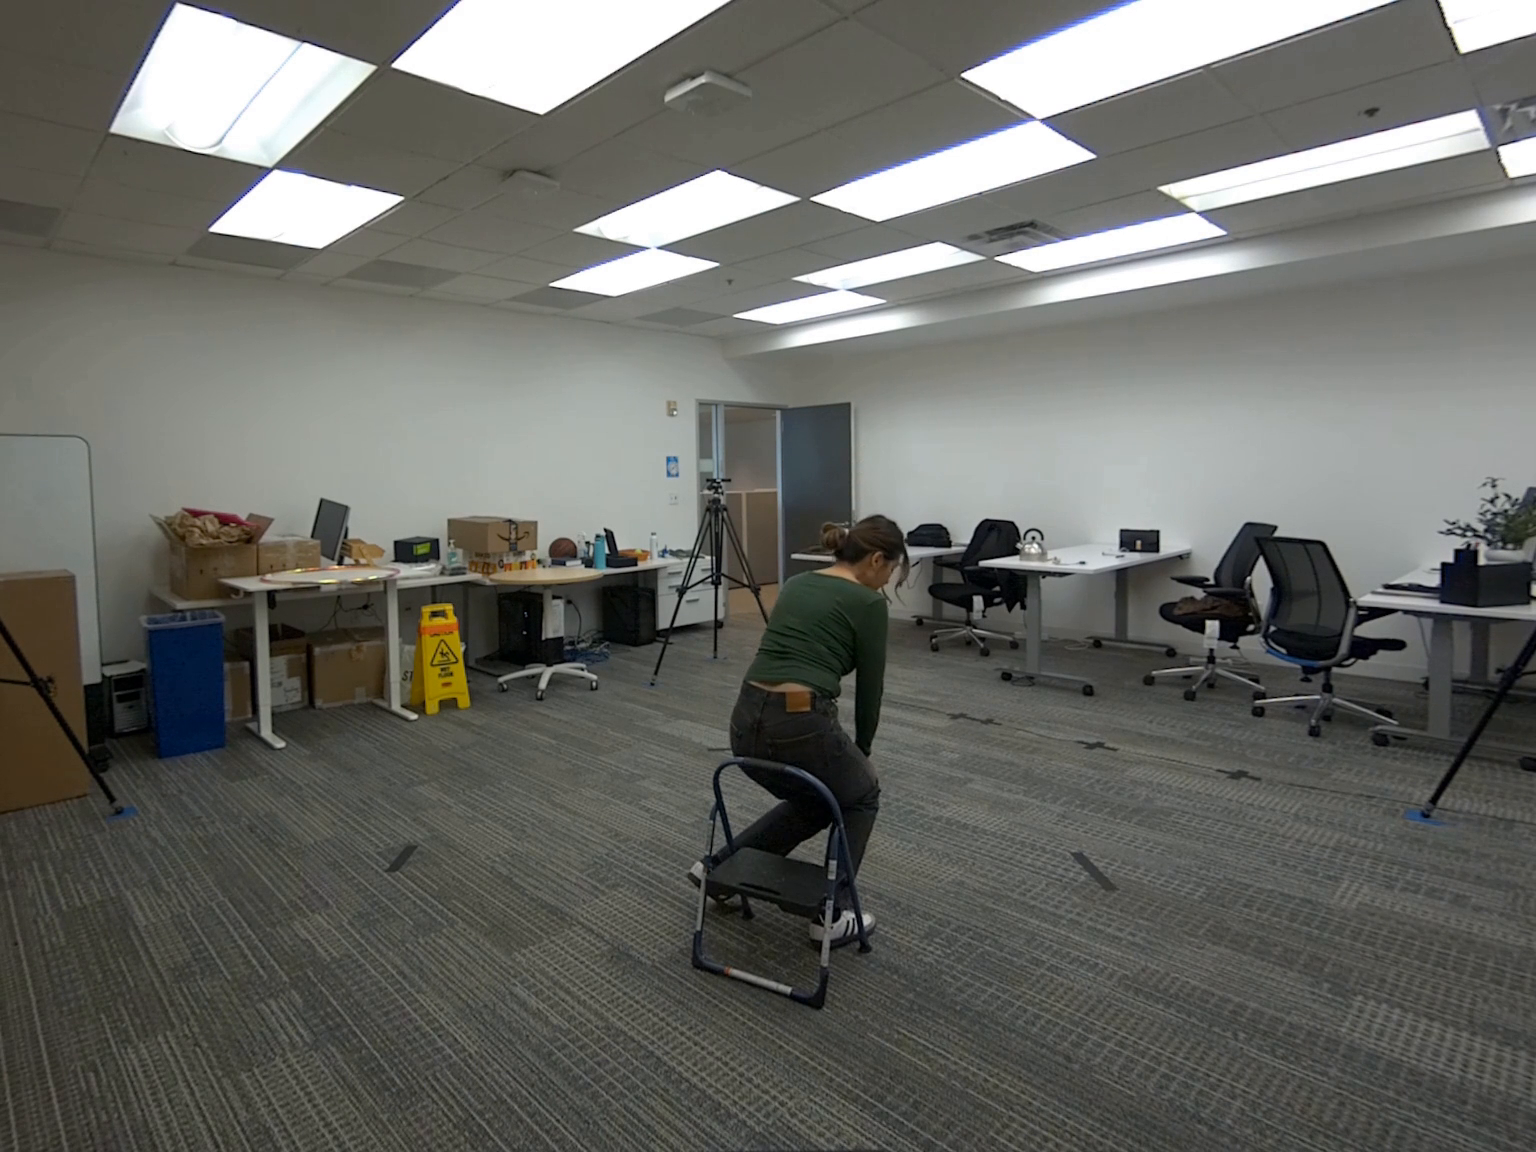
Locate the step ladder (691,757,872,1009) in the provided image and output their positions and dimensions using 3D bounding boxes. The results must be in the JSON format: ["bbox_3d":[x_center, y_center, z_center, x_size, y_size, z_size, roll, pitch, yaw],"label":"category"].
[{"bbox_3d":[0.038,0.816,2.473,0.442,0.604,0.341,1,4,29],"label":"step ladder"}]
